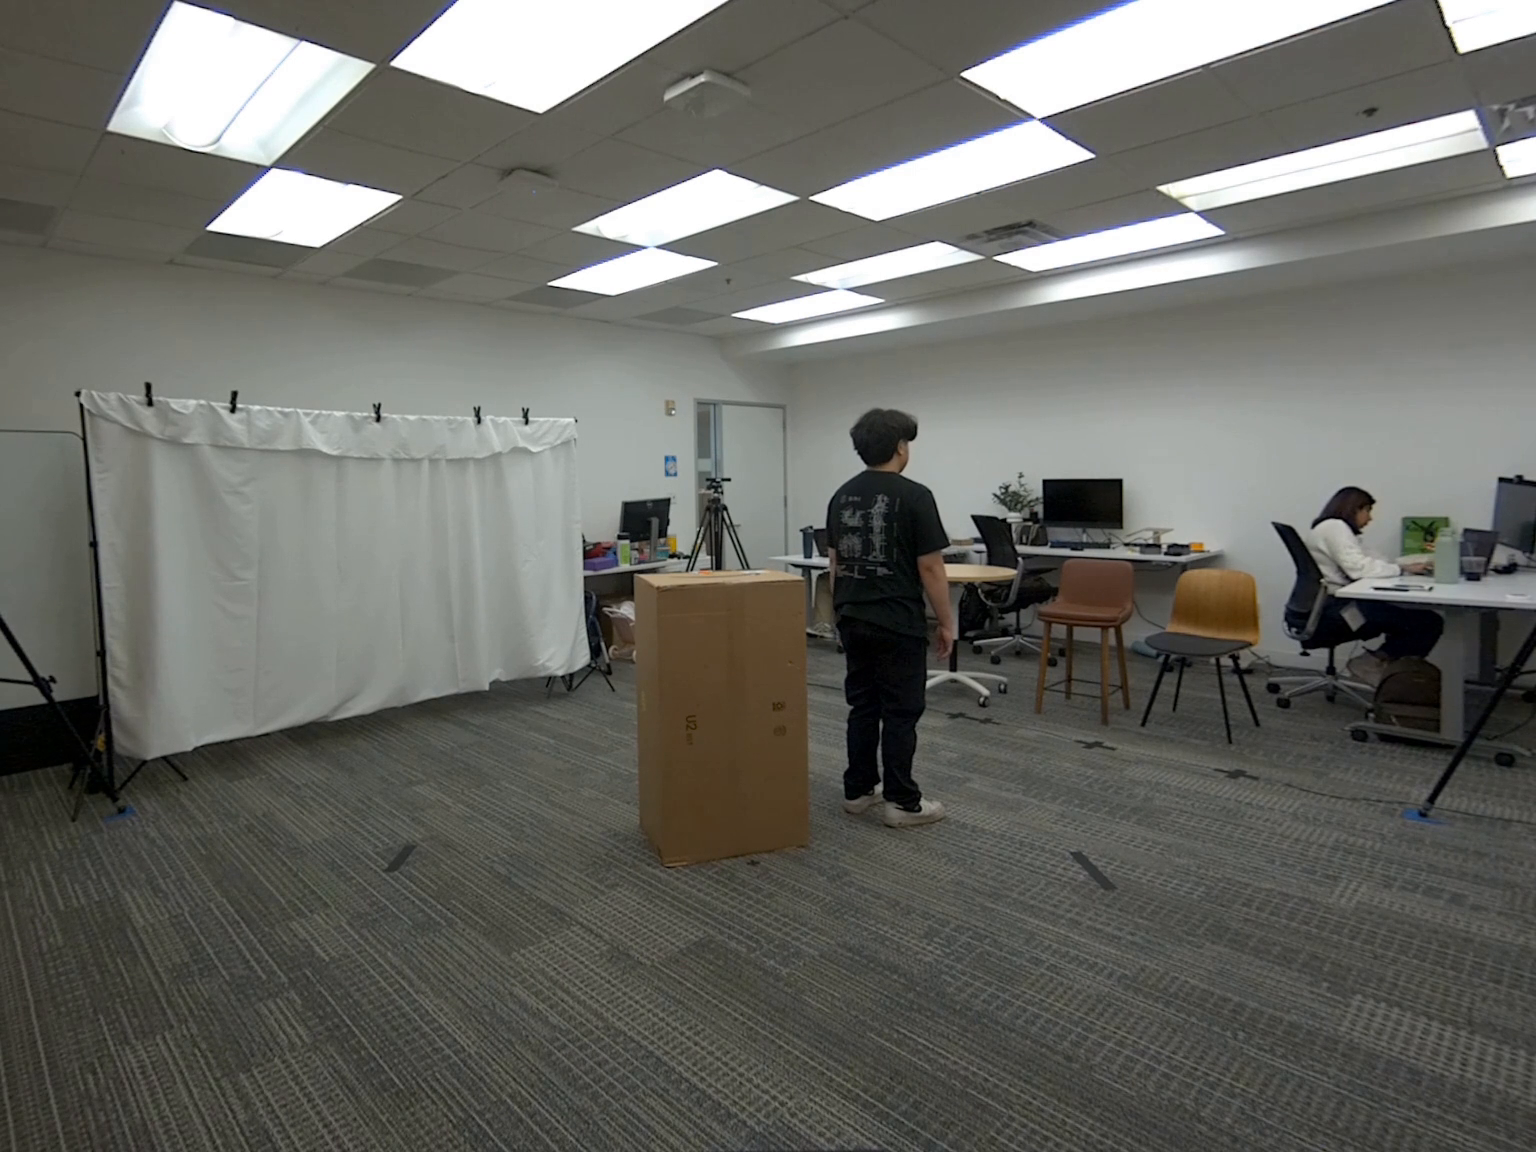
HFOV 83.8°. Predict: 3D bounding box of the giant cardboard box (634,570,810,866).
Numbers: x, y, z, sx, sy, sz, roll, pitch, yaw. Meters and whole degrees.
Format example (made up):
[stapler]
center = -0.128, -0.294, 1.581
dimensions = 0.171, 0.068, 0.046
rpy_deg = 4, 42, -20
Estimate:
[giant cardboard box]
center = -0.190, 0.507, 3.330
dimensions = 0.575, 1.024, 0.455
rpy_deg = -2, 3, -18
